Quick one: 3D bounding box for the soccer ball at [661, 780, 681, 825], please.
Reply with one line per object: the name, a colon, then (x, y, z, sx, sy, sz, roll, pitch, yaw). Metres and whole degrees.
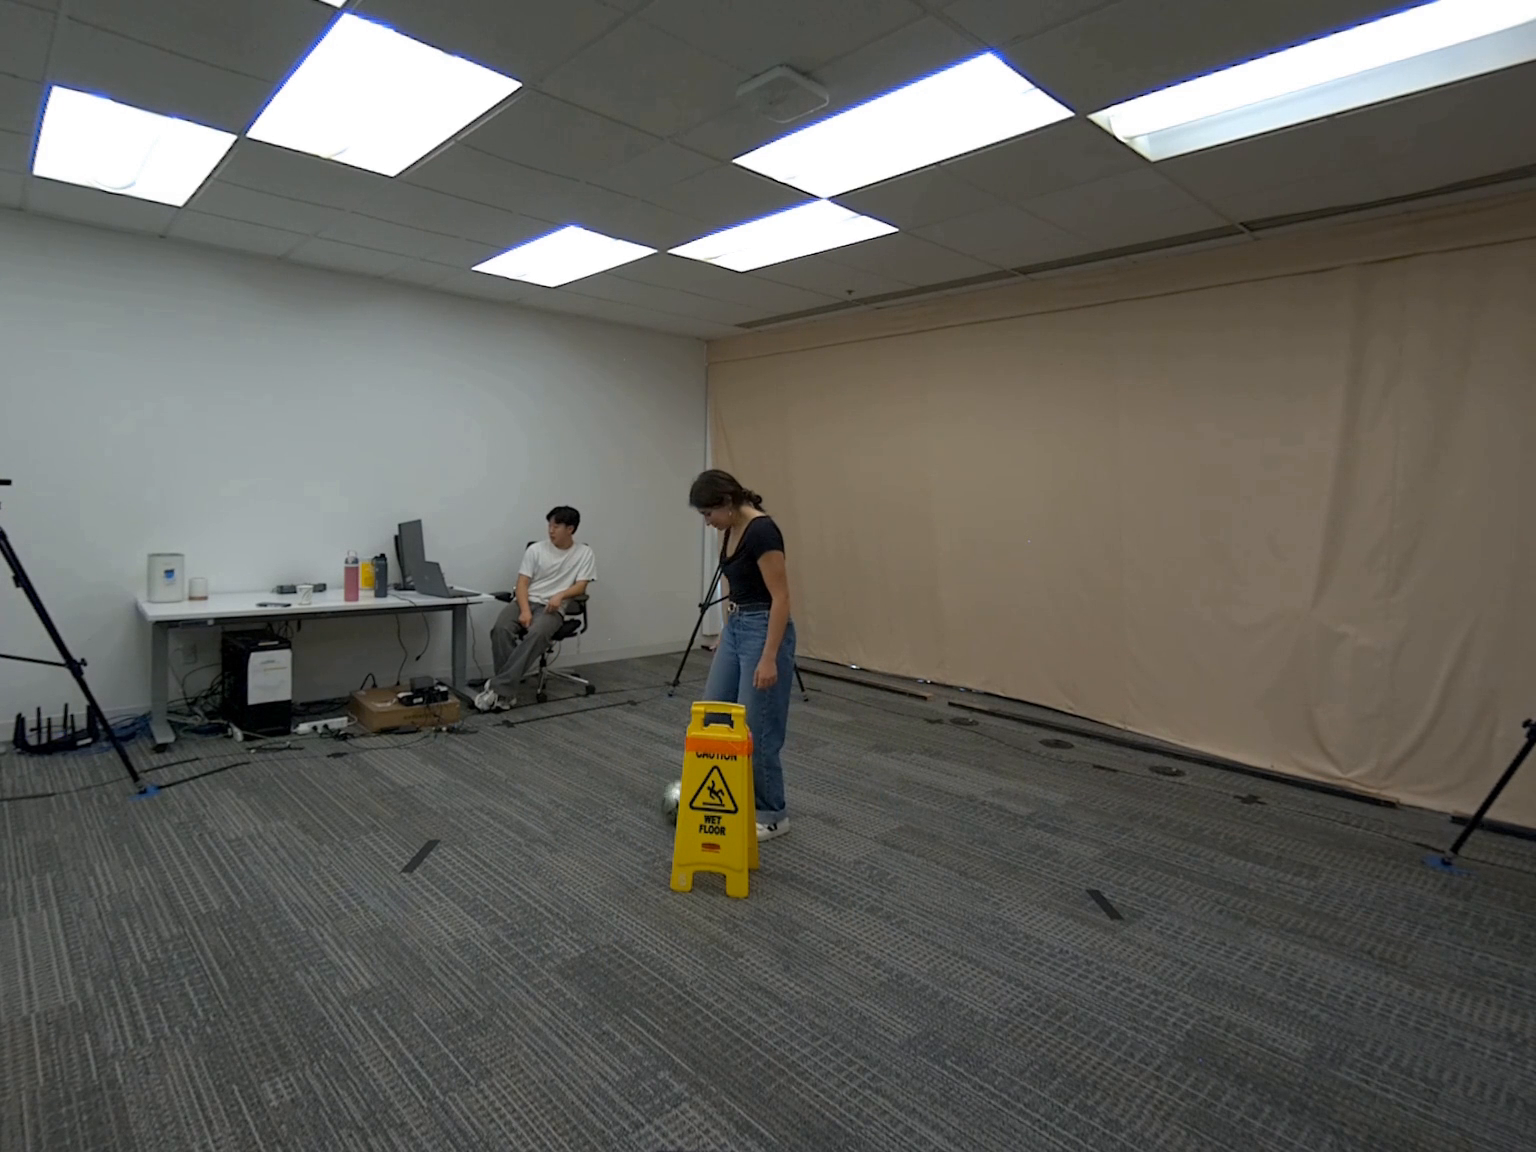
soccer ball: (-0.354, 0.966, 3.586, 0.187, 0.187, 0.188, 1, 4, -1)
